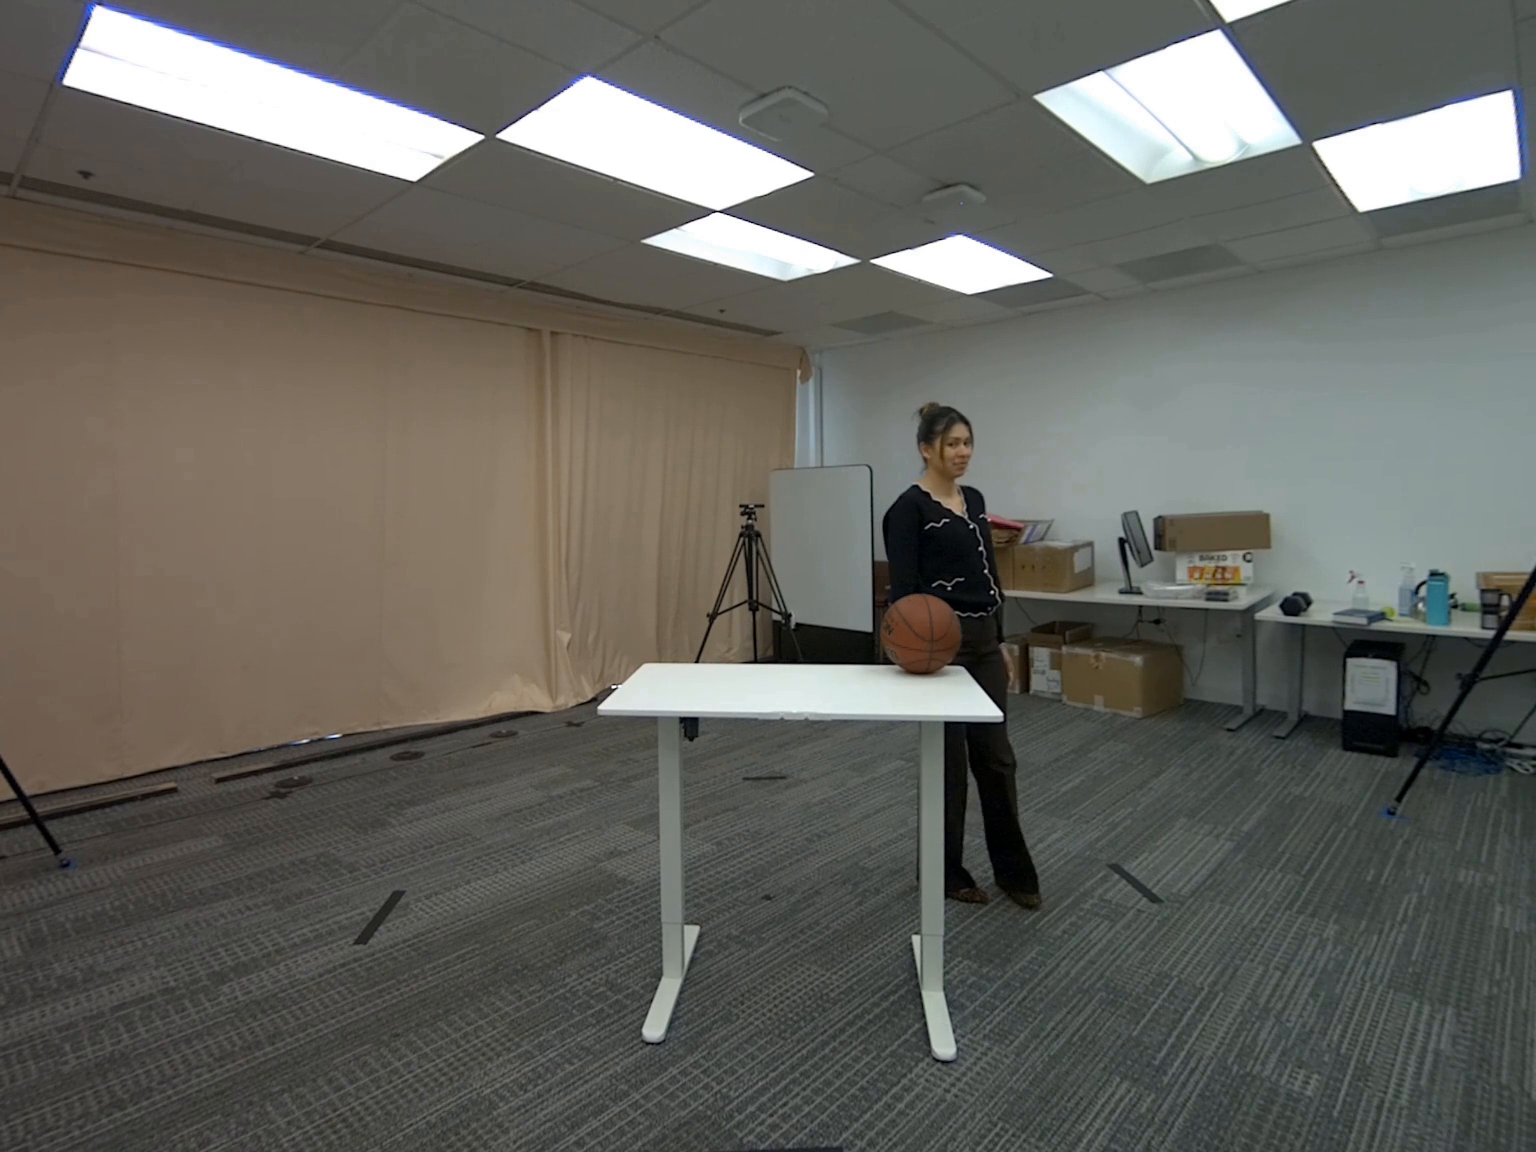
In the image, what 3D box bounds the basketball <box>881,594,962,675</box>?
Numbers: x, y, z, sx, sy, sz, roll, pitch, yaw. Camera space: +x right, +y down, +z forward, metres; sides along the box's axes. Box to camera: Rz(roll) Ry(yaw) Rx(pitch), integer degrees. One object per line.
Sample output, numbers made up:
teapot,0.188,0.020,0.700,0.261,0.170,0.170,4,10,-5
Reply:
basketball,0.468,0.175,2.520,0.236,0.235,0.237,-1,4,-2
